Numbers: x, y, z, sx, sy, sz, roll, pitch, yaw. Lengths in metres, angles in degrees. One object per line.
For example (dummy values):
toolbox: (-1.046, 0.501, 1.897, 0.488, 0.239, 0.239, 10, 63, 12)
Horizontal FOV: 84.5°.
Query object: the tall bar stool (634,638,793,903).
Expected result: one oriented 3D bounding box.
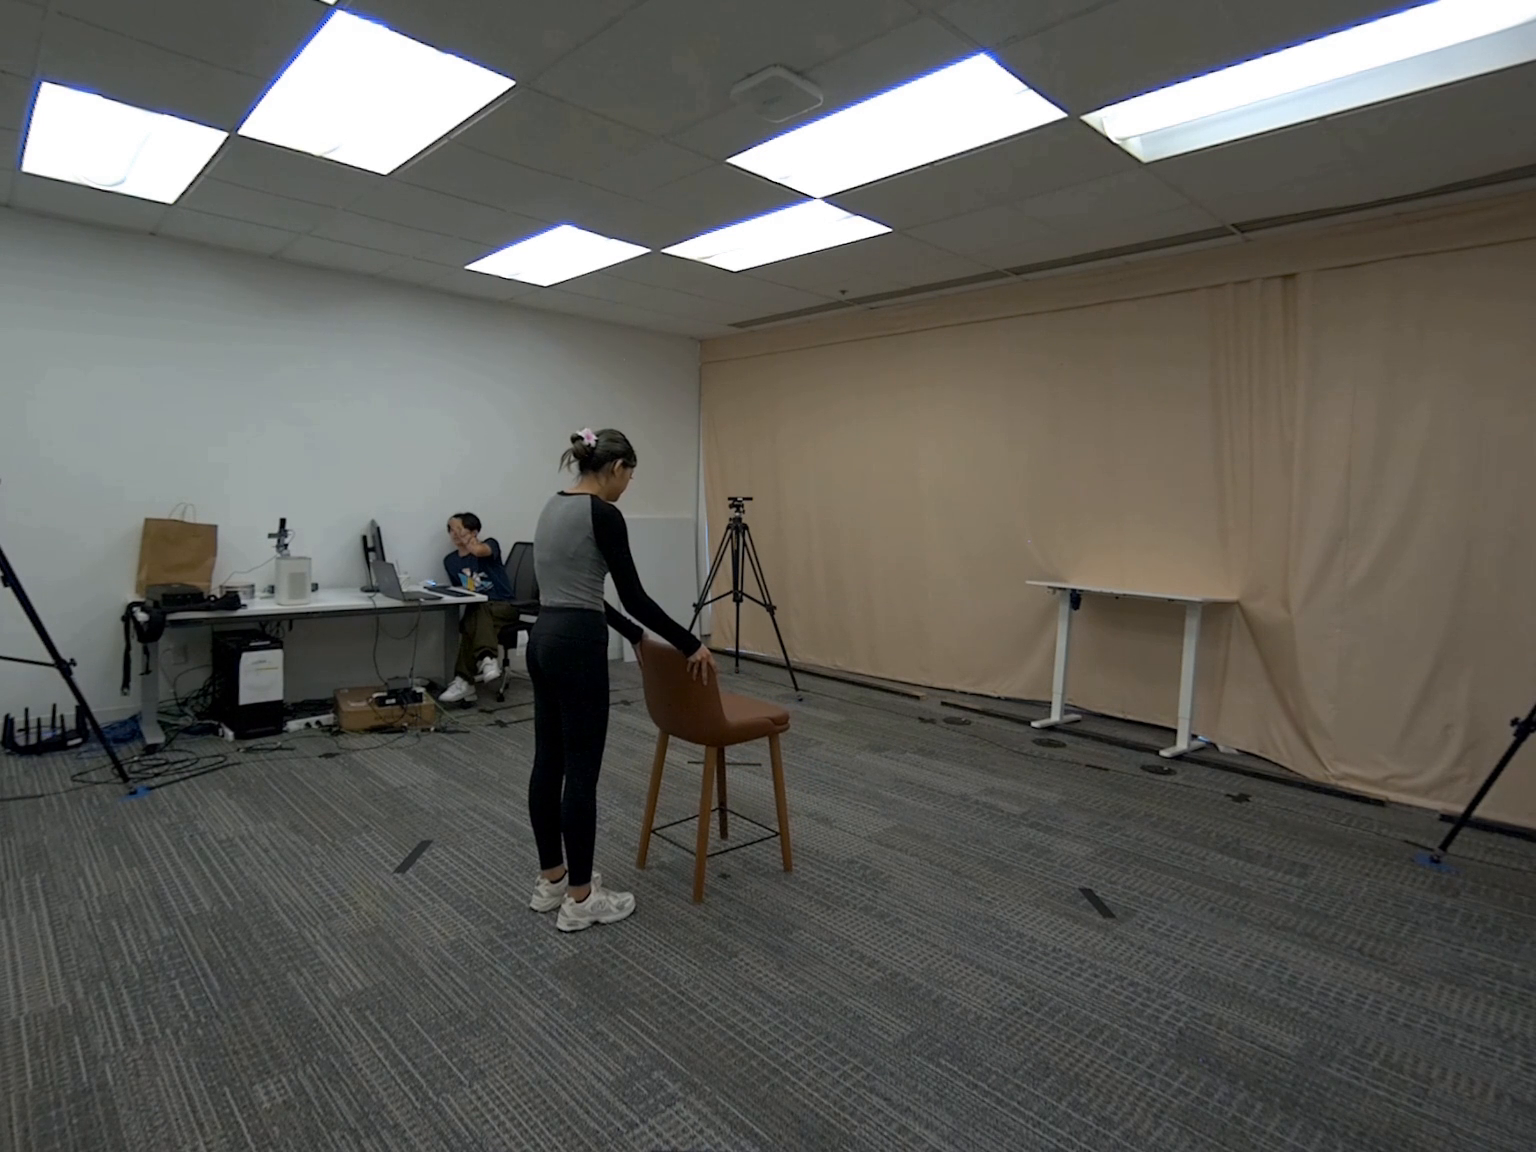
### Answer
tall bar stool: (-0.212, 0.664, 3.138, 0.457, 0.887, 0.468, -5, 6, -41)
